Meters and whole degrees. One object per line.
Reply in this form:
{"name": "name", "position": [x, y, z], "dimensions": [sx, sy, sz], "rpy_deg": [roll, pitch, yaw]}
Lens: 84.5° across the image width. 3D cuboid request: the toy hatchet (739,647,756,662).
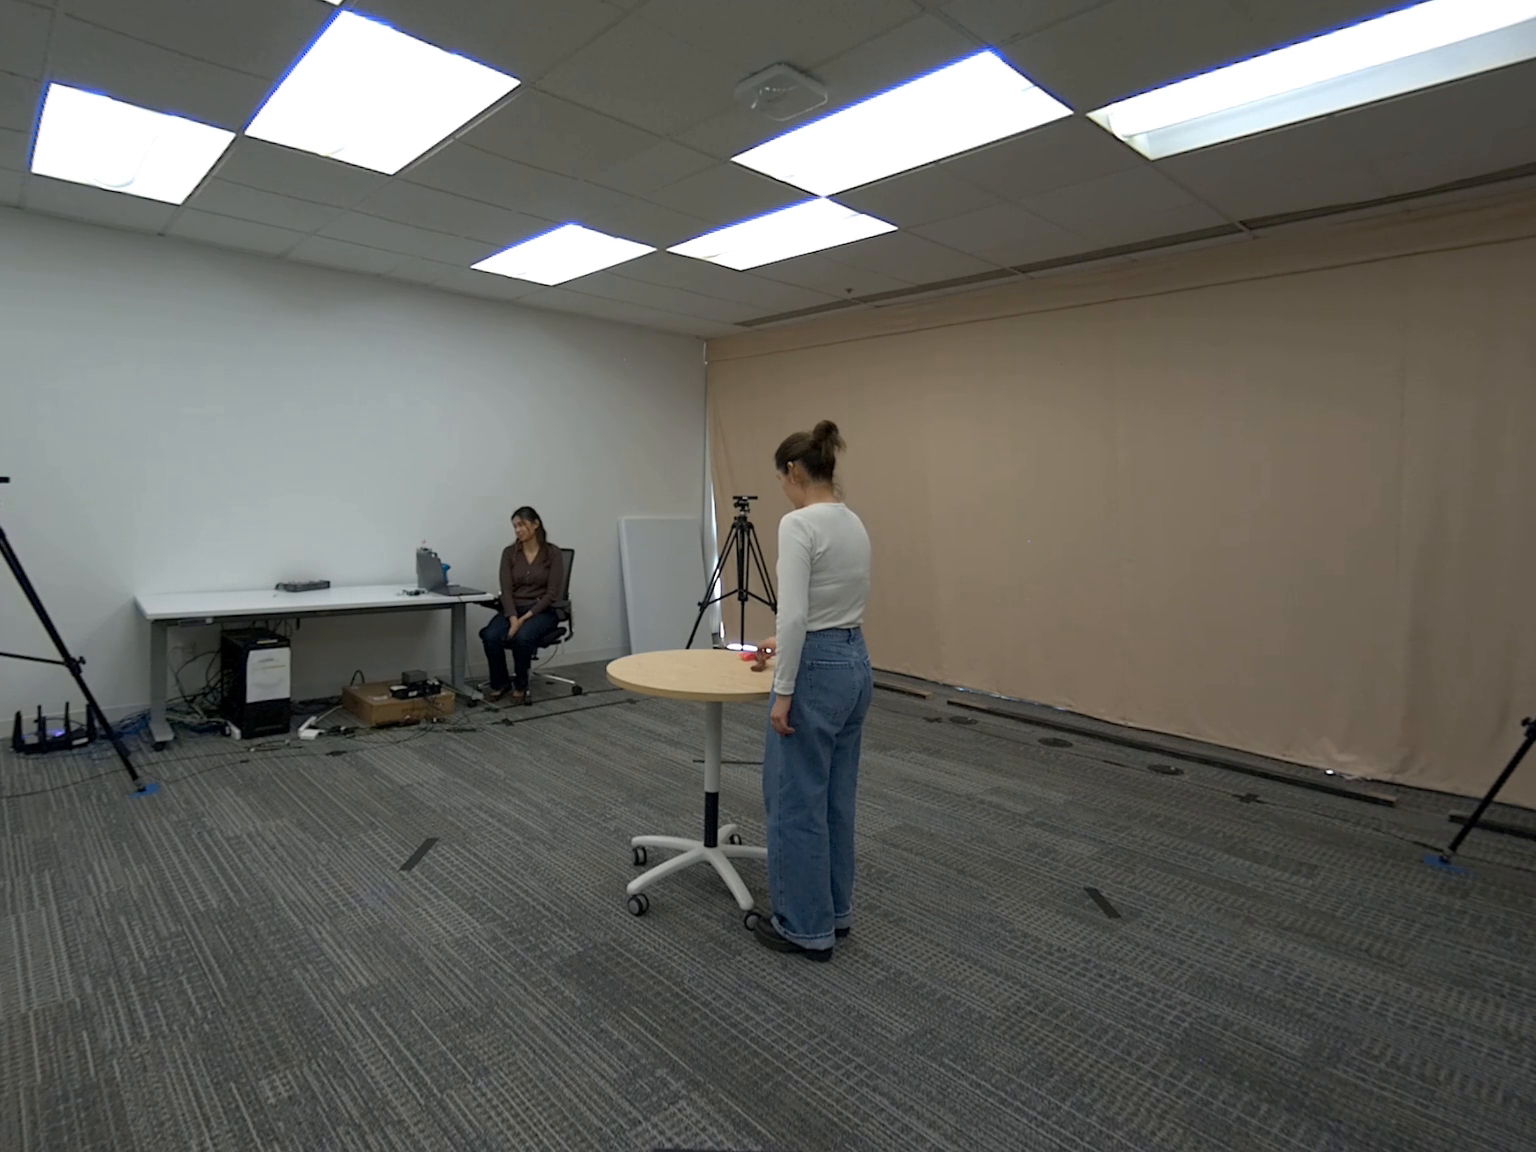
{"name": "toy hatchet", "position": [-0.066, 0.313, 3.088], "dimensions": [0.132, 0.029, 0.268], "rpy_deg": [3, 6, 11]}
